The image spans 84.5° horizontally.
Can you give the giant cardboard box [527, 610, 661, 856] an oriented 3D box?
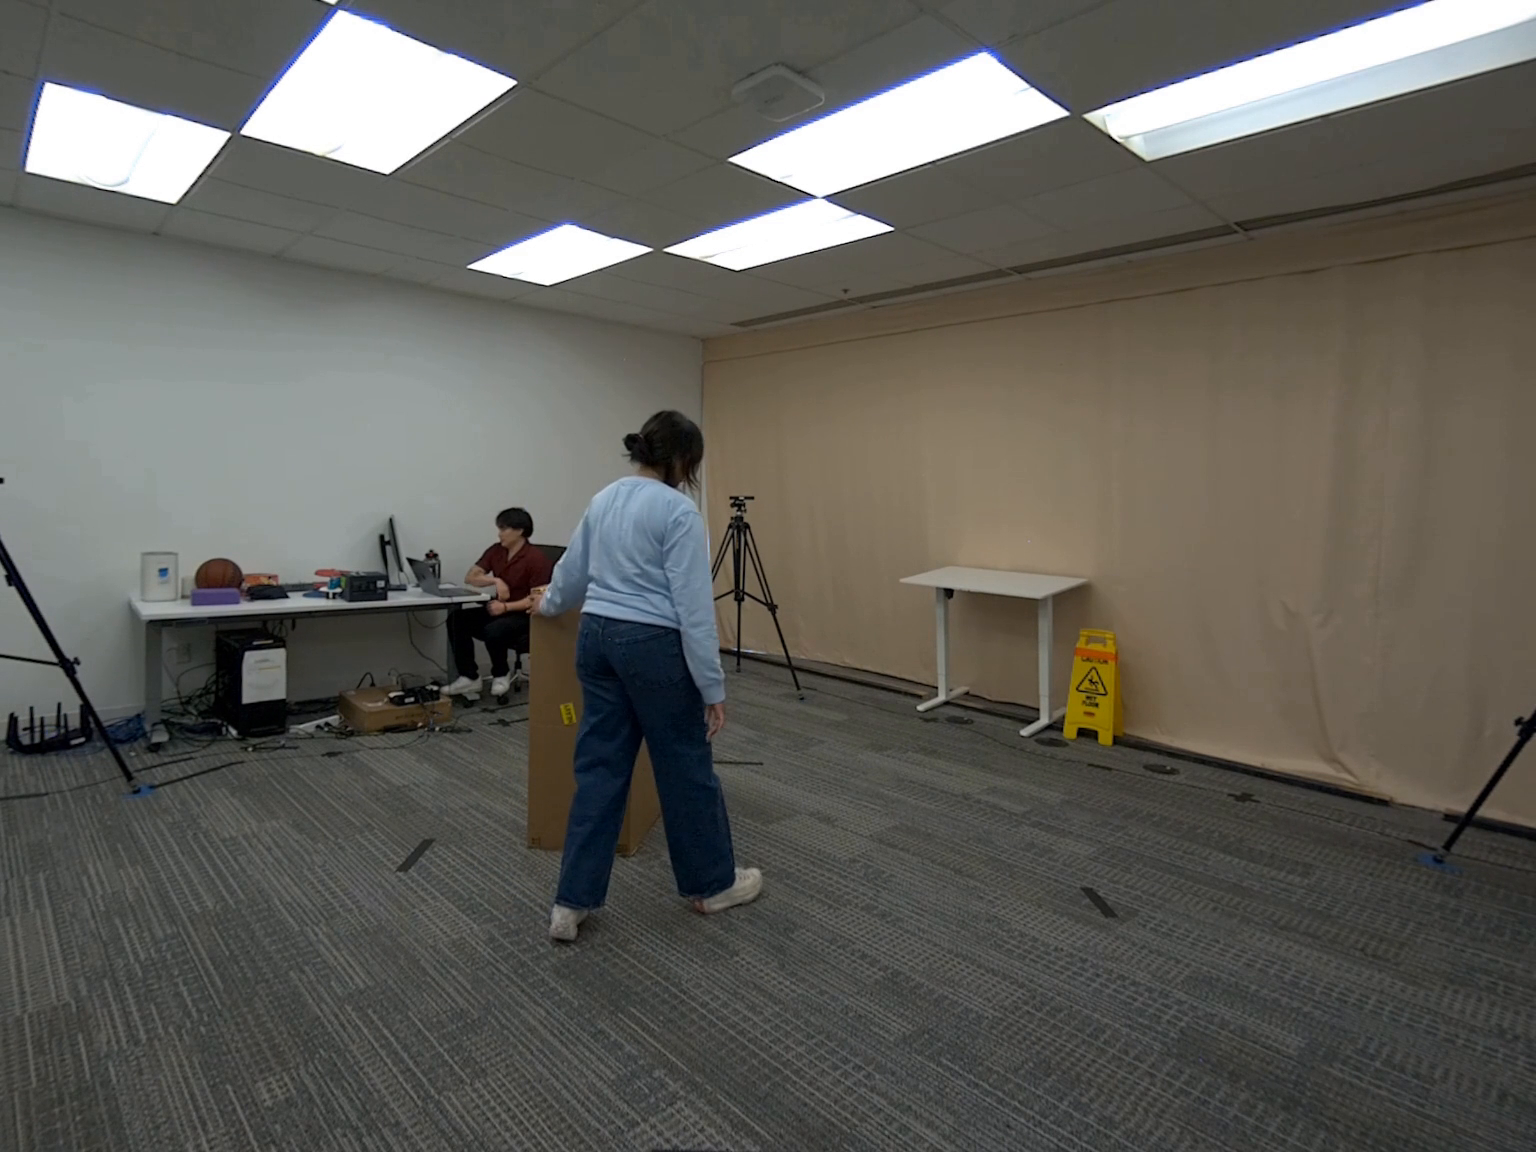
[{"bbox_3d":[-0.702,0.547,3.531,0.430,1.023,0.574,2,3,9],"label":"giant cardboard box"}]
